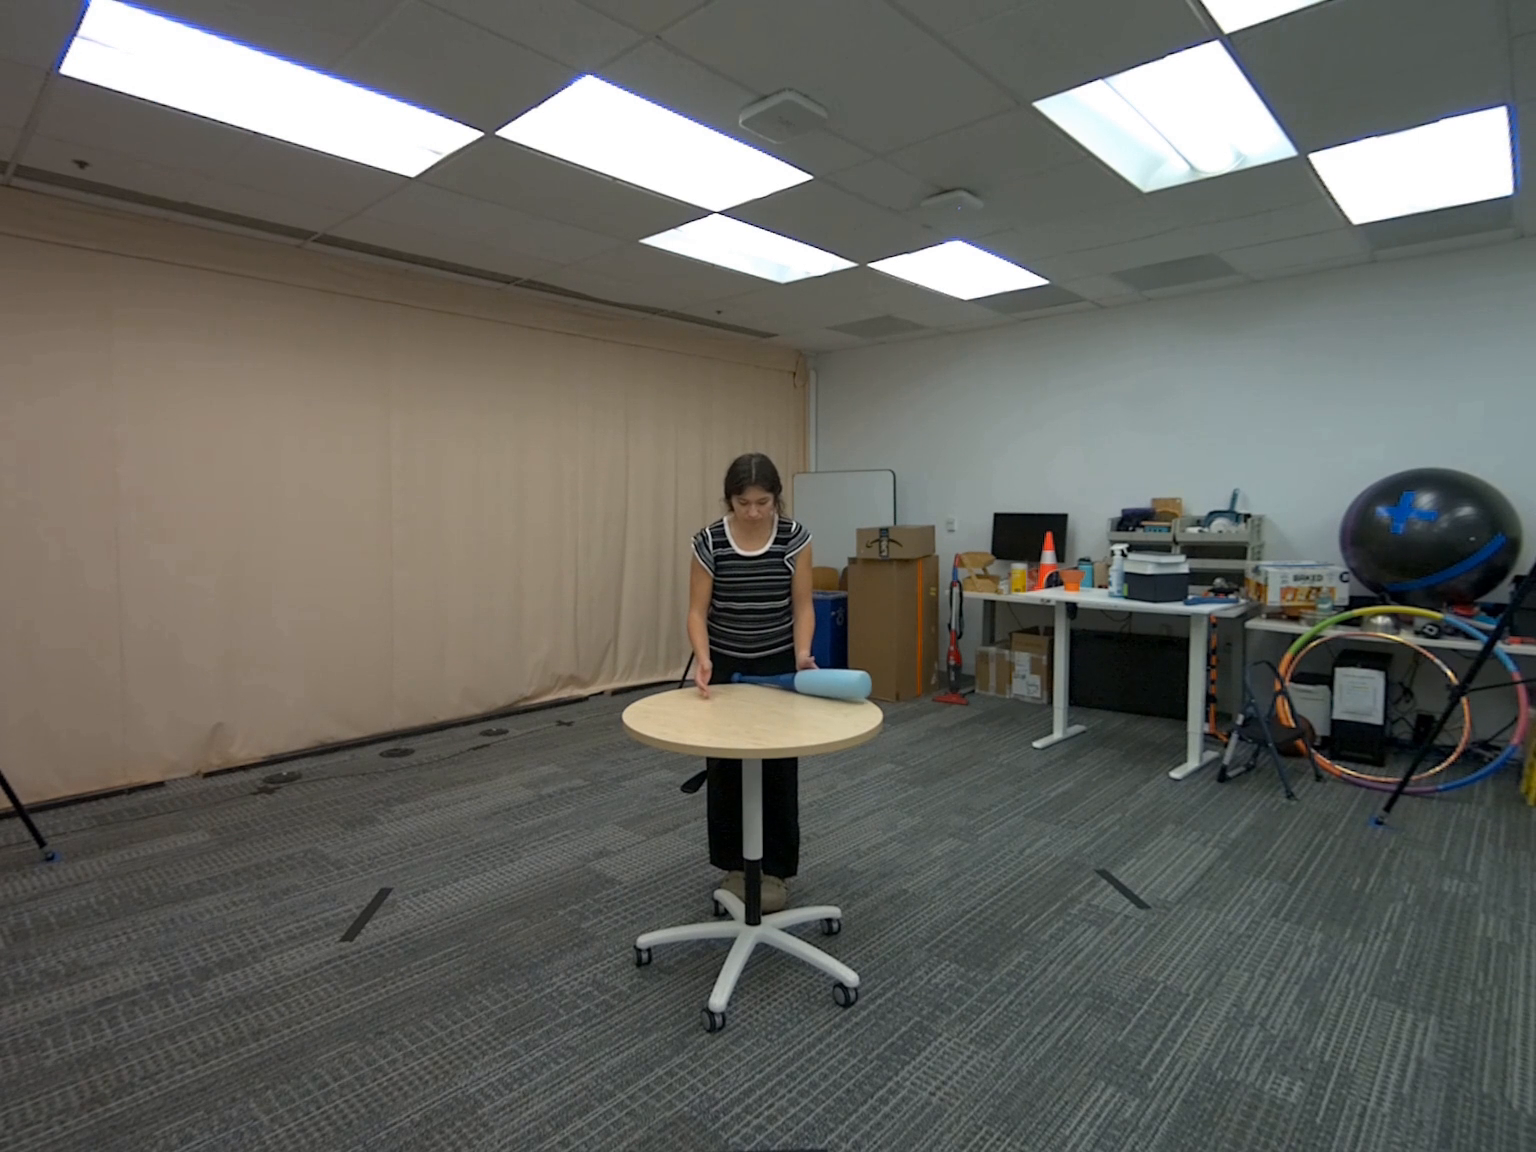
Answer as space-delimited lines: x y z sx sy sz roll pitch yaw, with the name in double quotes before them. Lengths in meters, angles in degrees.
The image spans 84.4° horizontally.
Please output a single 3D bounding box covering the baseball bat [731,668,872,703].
"baseball bat" 0.091 0.346 2.739 0.560 0.089 0.086 -4 0 45
